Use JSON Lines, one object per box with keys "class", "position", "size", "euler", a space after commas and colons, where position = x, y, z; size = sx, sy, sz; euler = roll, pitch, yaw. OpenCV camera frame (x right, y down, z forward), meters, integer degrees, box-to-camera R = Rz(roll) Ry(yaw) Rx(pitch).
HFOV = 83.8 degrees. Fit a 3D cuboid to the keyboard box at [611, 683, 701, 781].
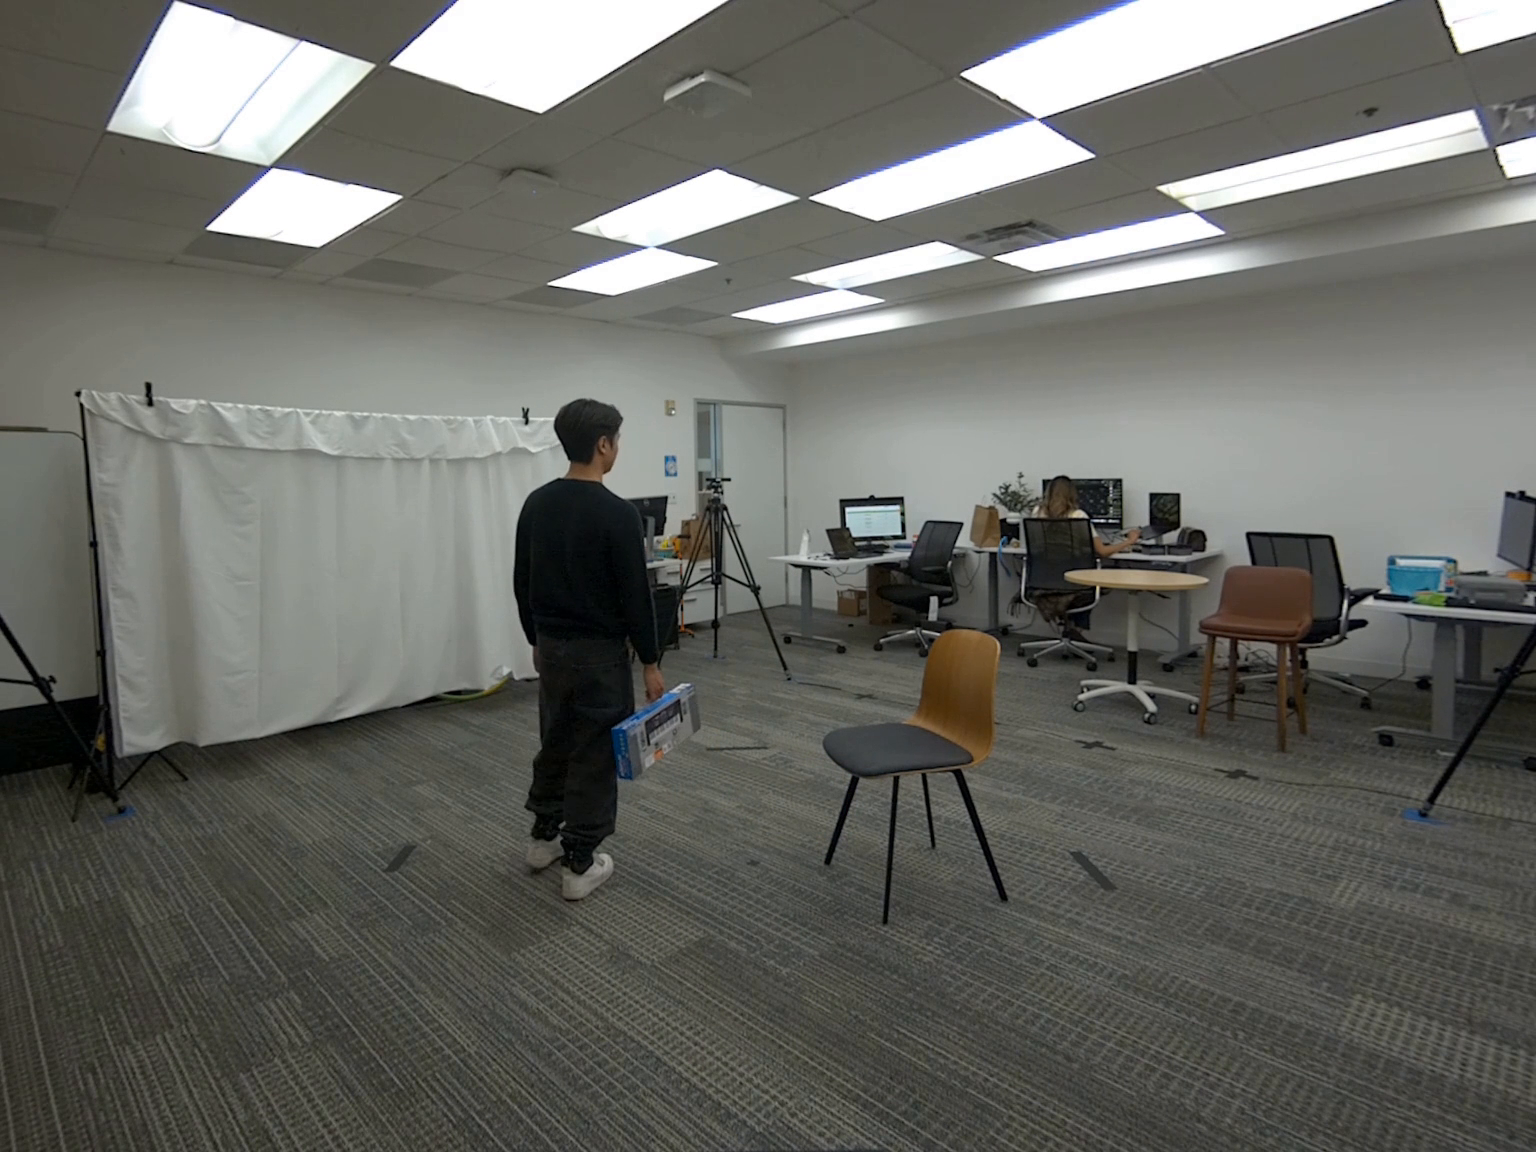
{"class": "keyboard box", "position": [-0.379, 0.521, 2.915], "size": [0.060, 0.174, 0.431], "euler": [-4, 11, 28]}
